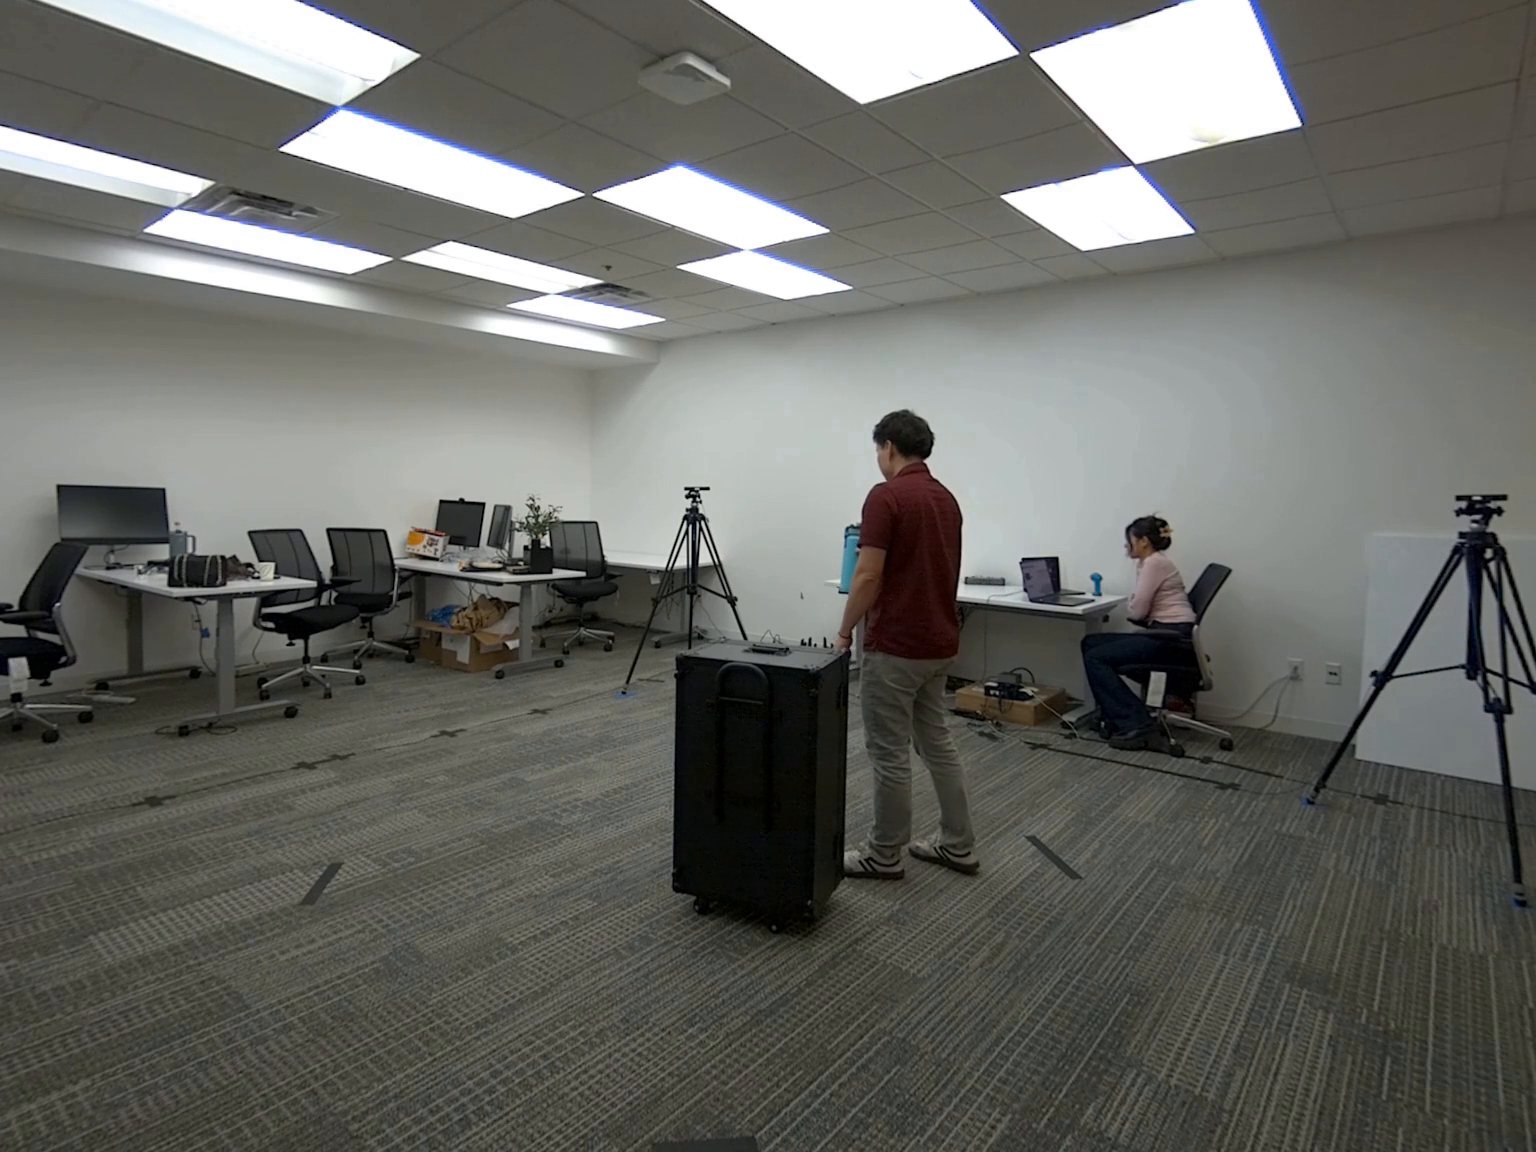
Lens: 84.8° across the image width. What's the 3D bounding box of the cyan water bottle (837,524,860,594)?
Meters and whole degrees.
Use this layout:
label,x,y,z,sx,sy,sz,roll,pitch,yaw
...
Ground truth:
label,x,y,z,sx,sy,sz,roll,pitch,yaw
cyan water bottle,0.341,-0.078,3.434,0.092,0.285,0.092,1,-5,-2
